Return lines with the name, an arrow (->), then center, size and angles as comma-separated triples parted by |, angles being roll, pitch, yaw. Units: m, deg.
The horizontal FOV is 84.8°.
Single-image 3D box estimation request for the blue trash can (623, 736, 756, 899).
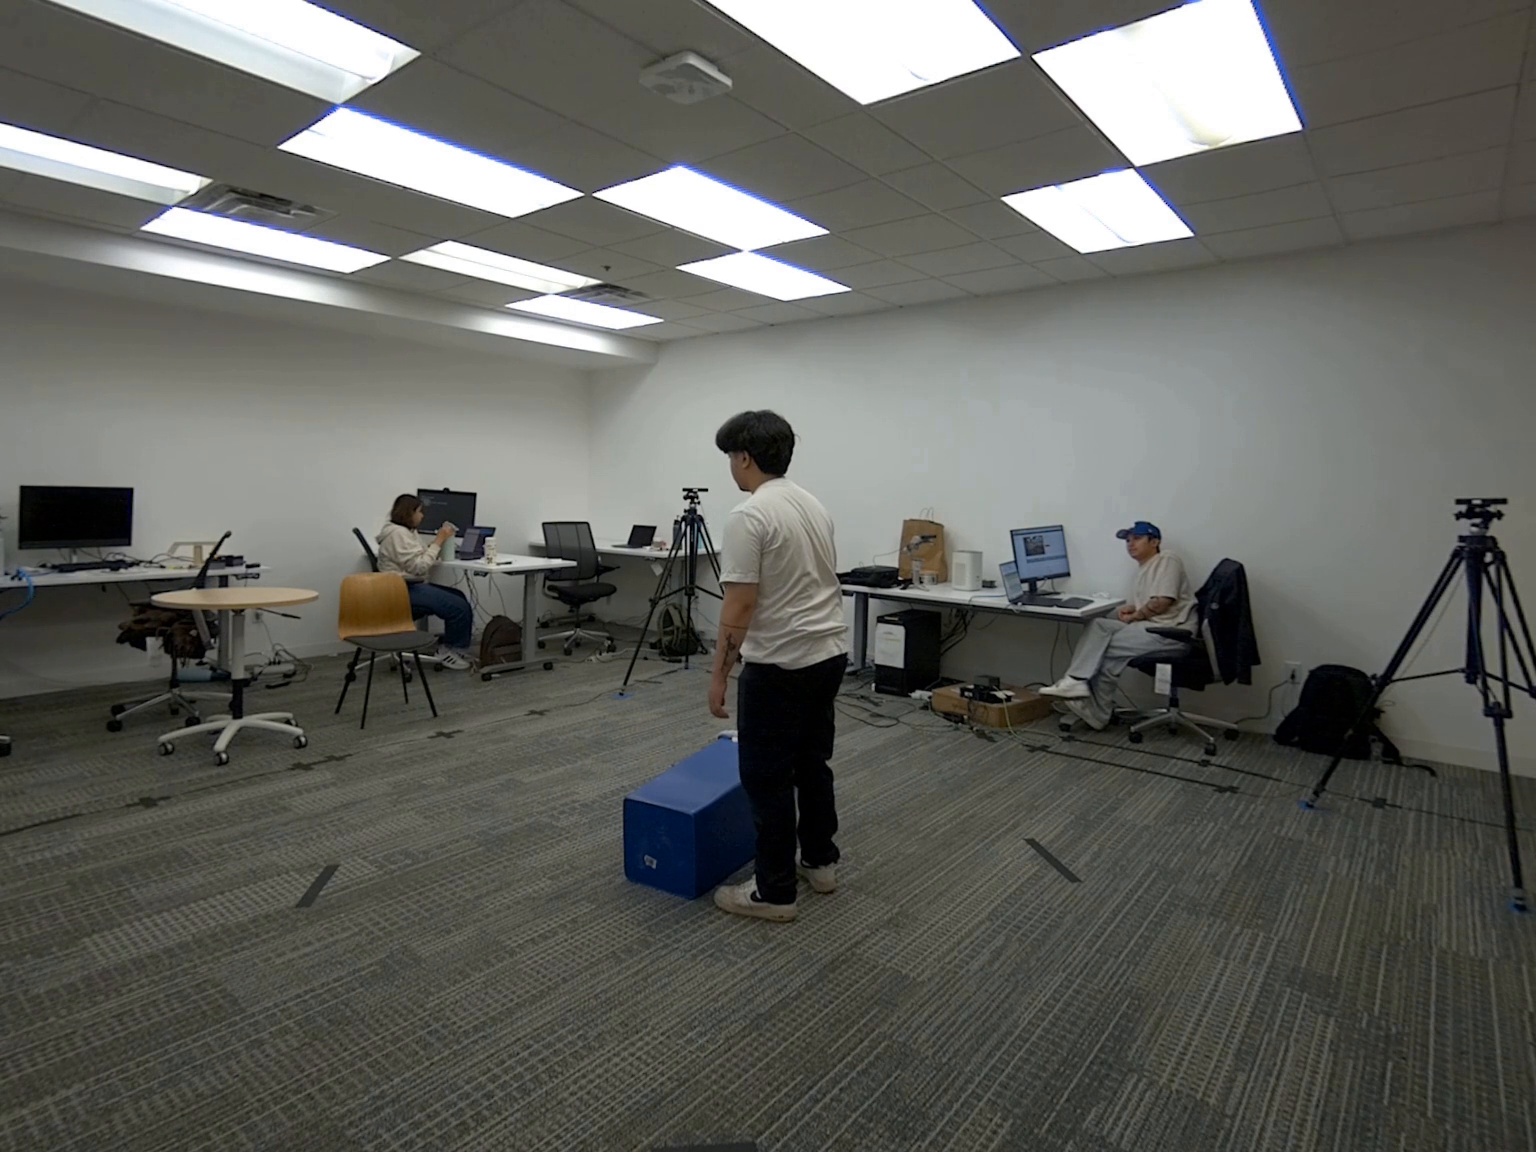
blue trash can -> -0.225, 0.894, 3.231 | 0.389, 0.371, 0.698 | 4, 9, 29
